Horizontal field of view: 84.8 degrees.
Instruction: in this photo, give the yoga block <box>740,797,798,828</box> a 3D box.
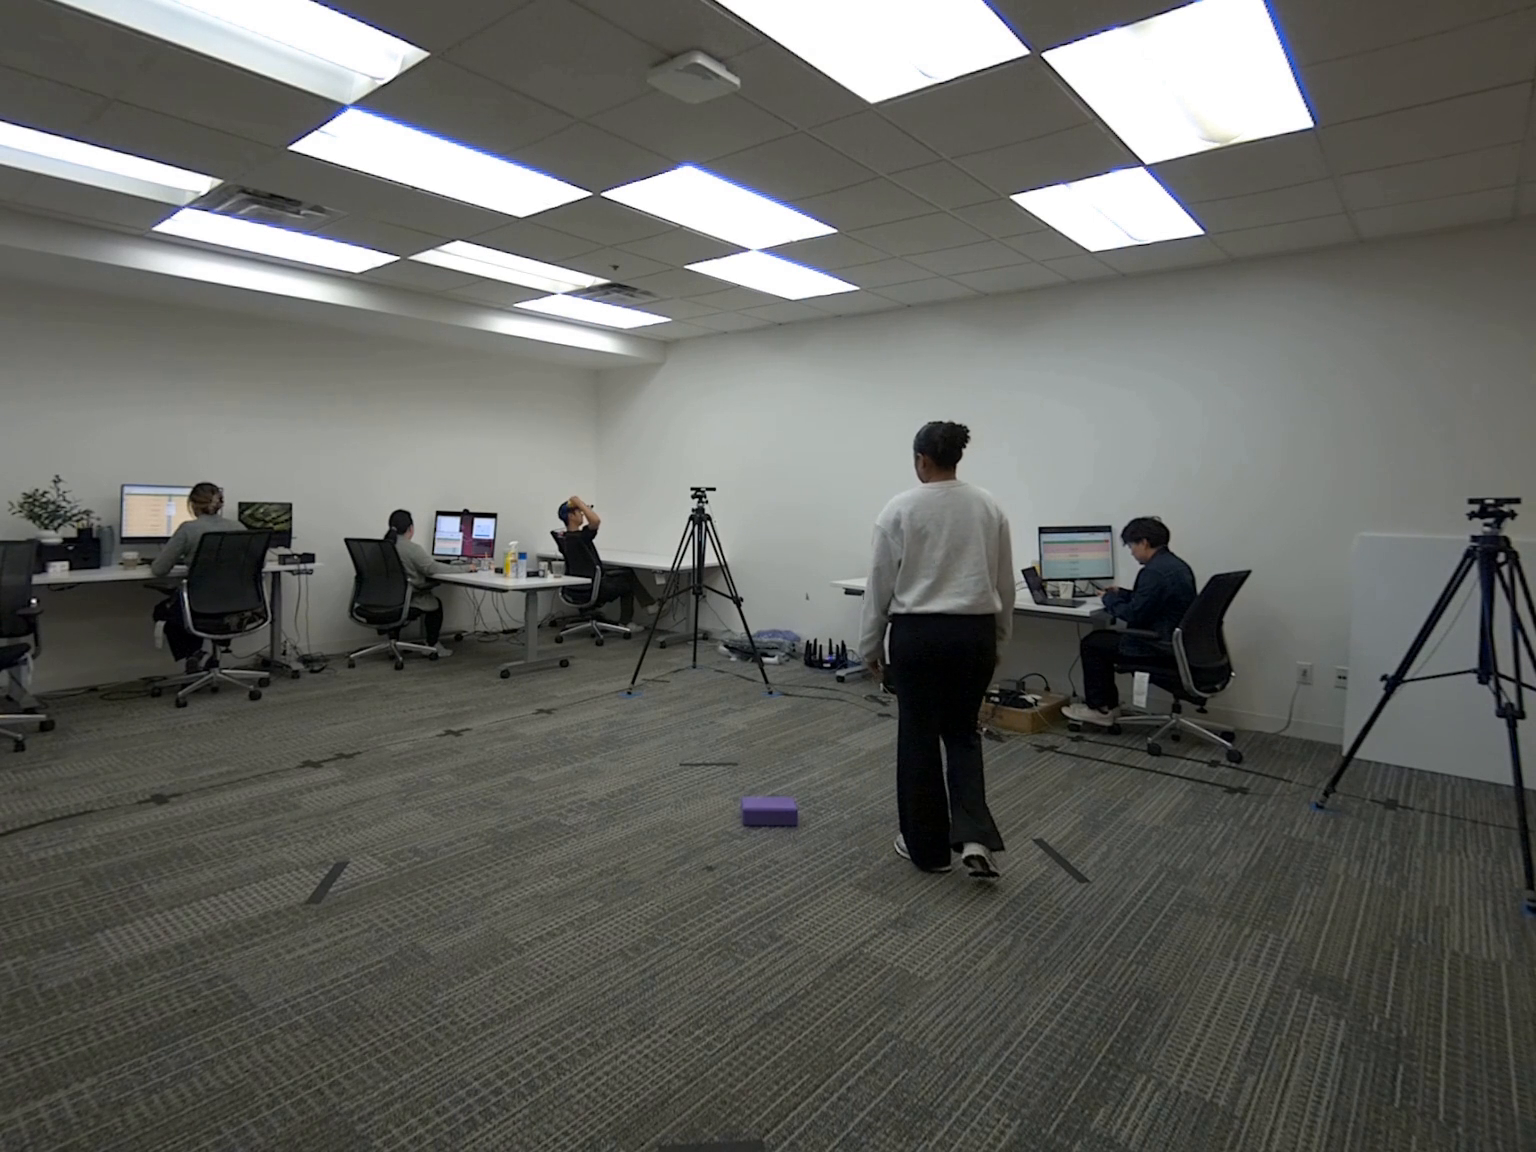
[{"bbox_3d":[-0.005,0.984,3.577,0.229,0.076,0.150,0,7,-2],"label":"yoga block"}]
